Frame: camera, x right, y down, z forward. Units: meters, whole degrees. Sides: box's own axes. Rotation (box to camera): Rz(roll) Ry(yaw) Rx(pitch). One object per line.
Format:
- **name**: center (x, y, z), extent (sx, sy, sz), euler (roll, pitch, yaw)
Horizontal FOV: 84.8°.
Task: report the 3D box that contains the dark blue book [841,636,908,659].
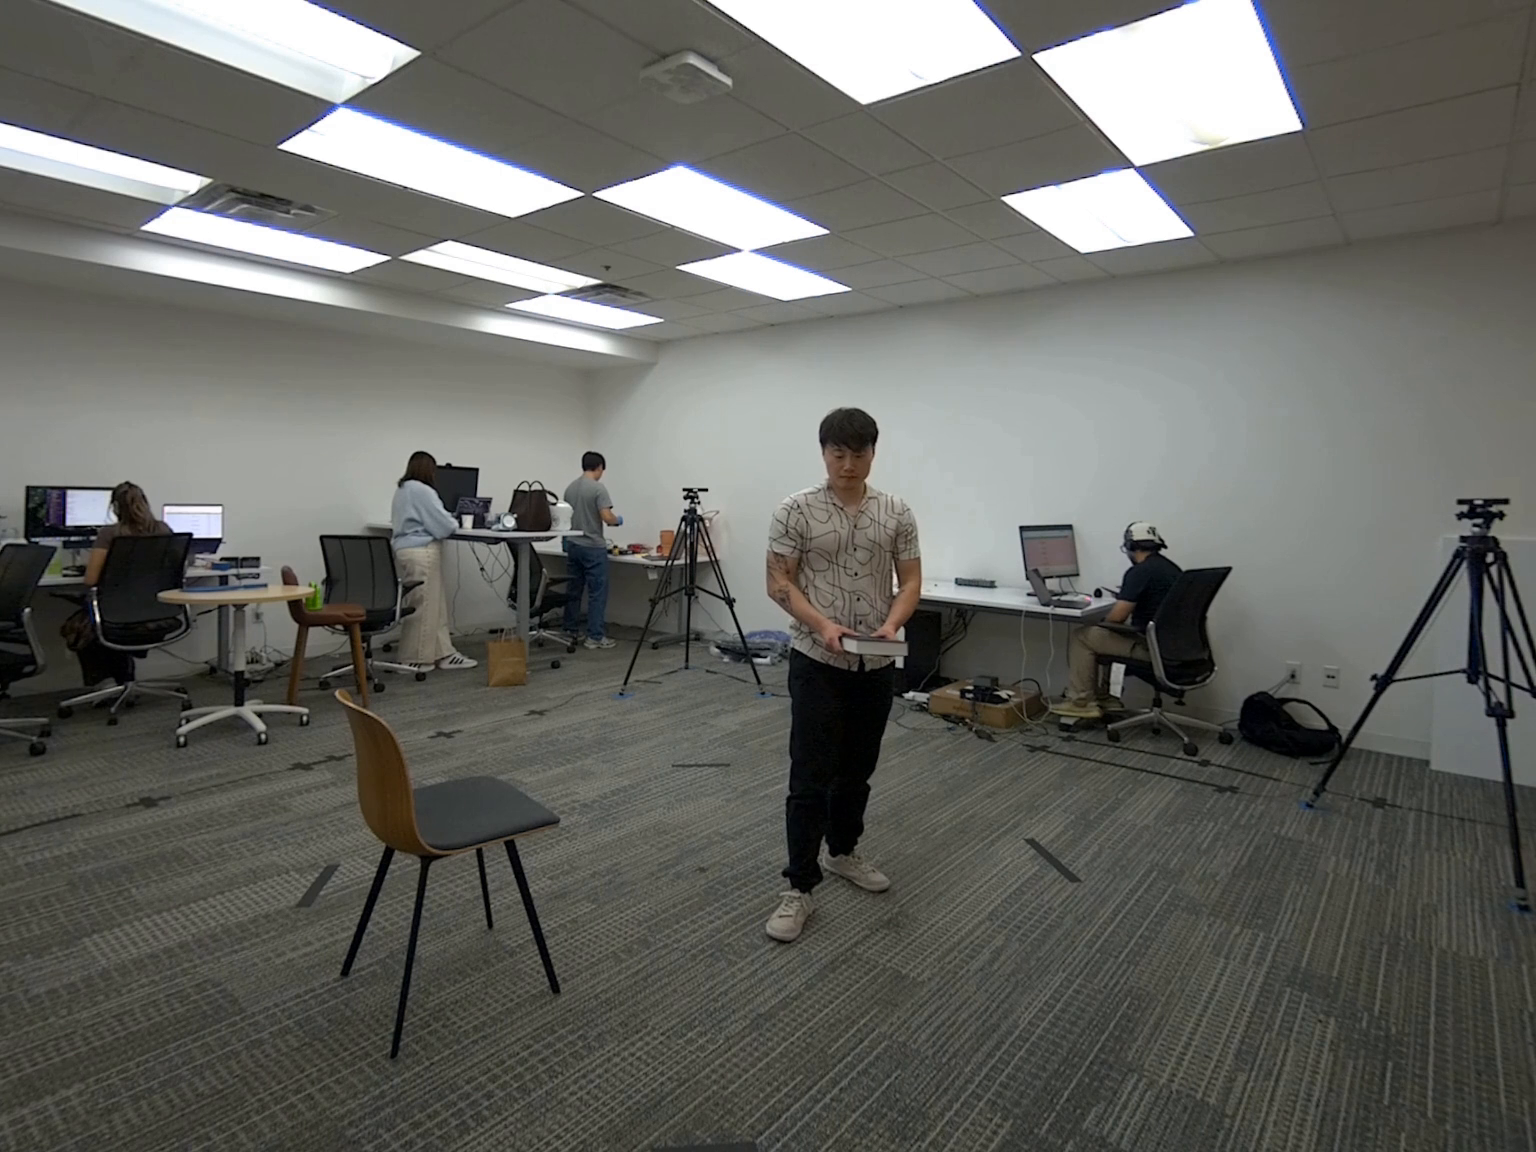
- **dark blue book**: center (0.306, 0.207, 2.613), extent (0.162, 0.045, 0.246), euler (3, -1, -6)
